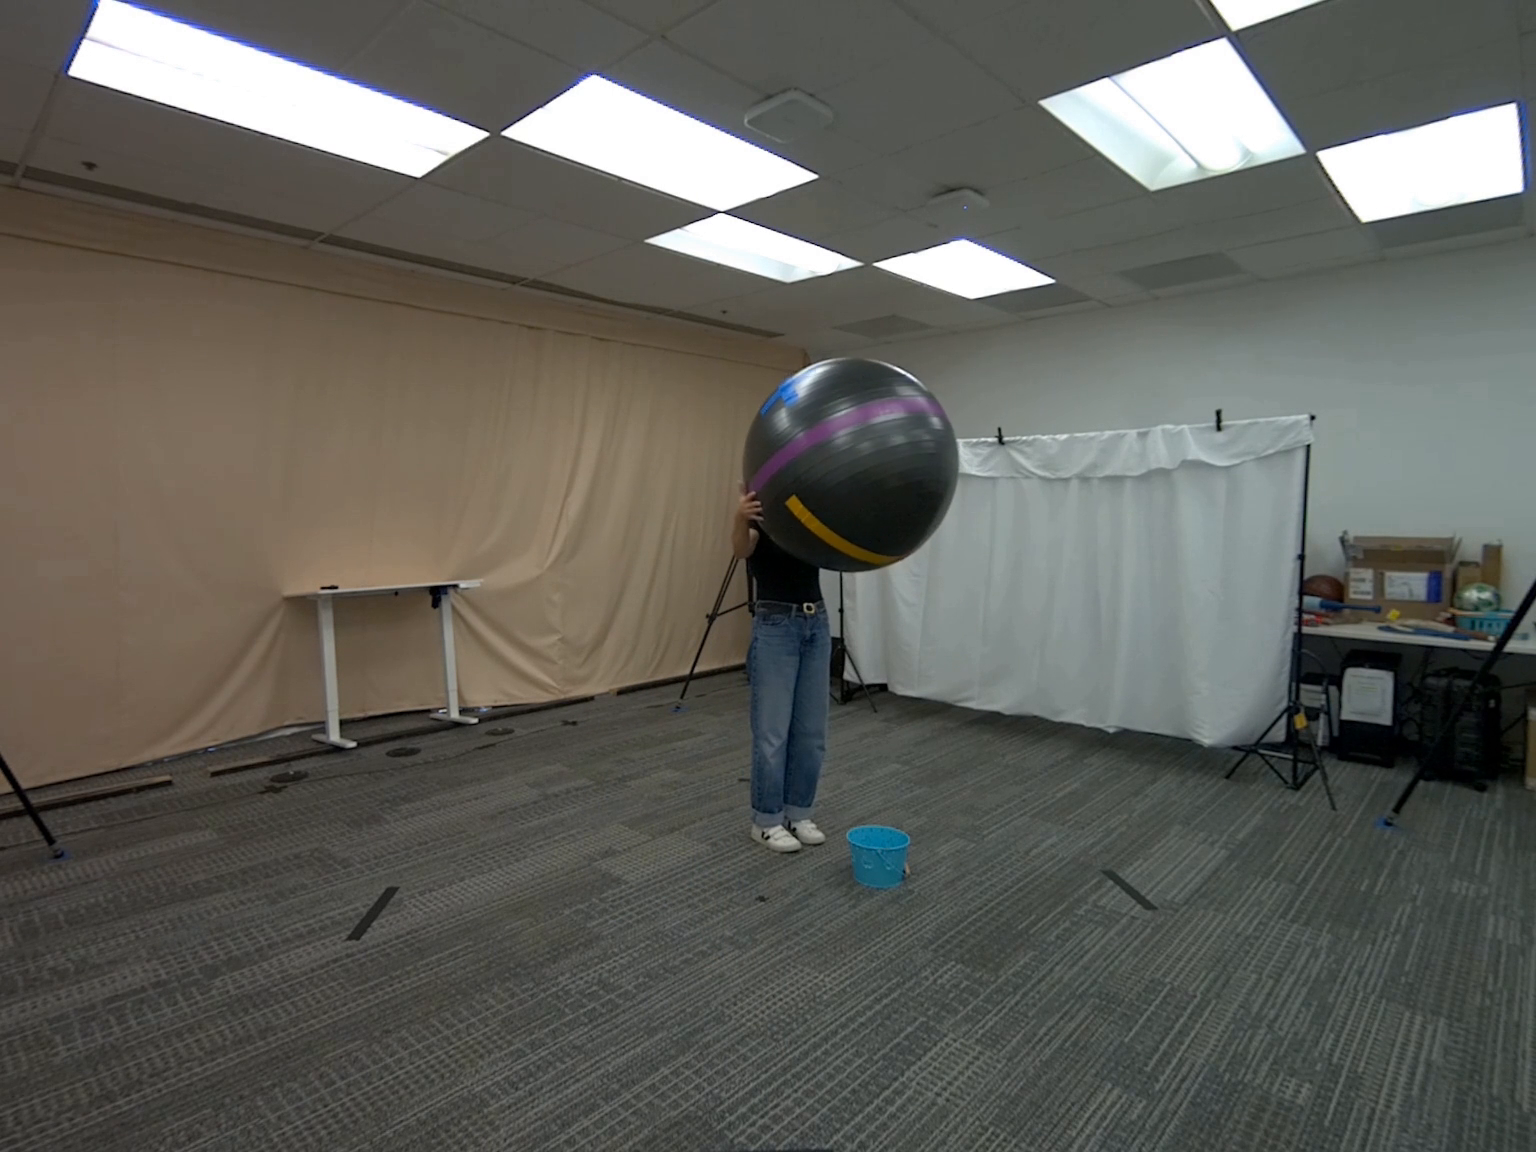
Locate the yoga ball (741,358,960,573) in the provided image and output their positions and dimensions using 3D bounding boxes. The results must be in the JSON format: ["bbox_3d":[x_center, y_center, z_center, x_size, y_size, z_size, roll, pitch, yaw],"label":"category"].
[{"bbox_3d":[0.290,-0.383,3.008,0.757,0.756,0.760,0,4,-2],"label":"yoga ball"}]
